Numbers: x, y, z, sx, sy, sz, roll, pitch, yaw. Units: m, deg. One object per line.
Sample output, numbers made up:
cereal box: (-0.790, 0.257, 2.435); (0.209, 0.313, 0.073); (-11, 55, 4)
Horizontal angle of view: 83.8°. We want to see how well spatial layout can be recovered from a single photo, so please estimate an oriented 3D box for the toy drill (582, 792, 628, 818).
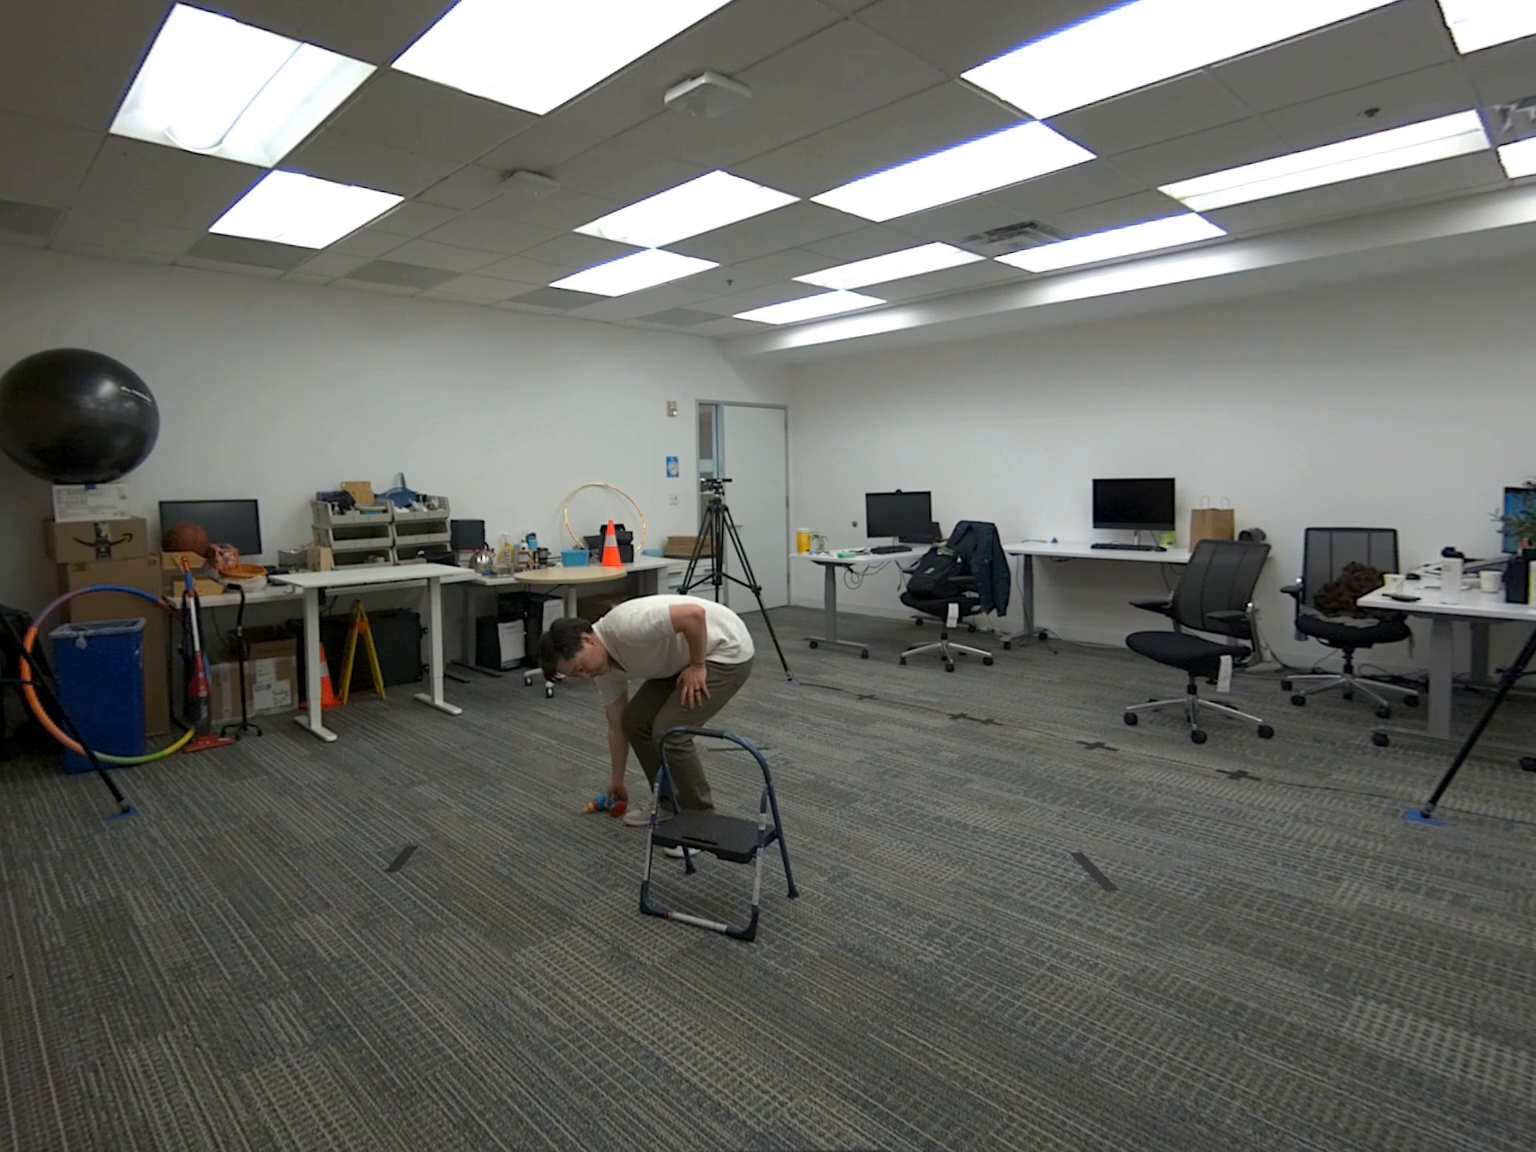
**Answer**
toy drill: (-0.698, 0.970, 3.613); (0.166, 0.060, 0.150); (-10, 12, -32)
